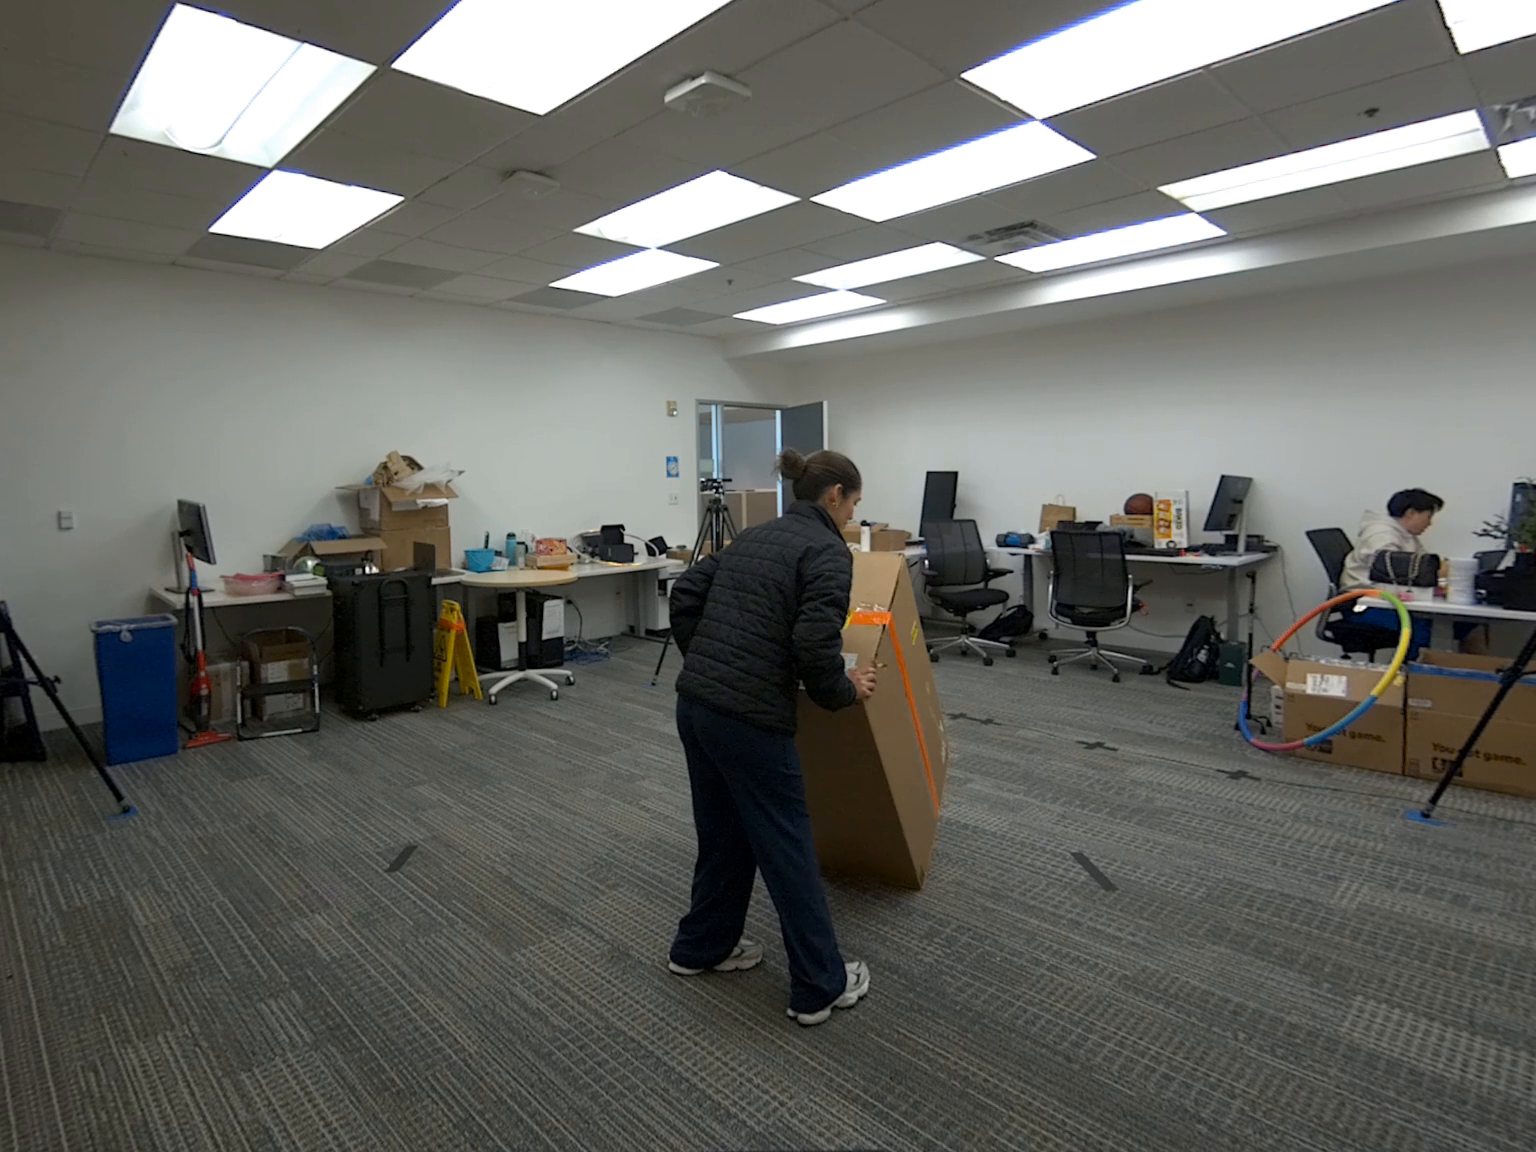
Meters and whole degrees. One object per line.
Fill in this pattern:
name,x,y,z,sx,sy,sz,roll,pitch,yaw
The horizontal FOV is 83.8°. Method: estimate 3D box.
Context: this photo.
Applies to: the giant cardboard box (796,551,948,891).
giant cardboard box,0.287,0.487,2.891,0.457,0.992,0.590,2,43,25
